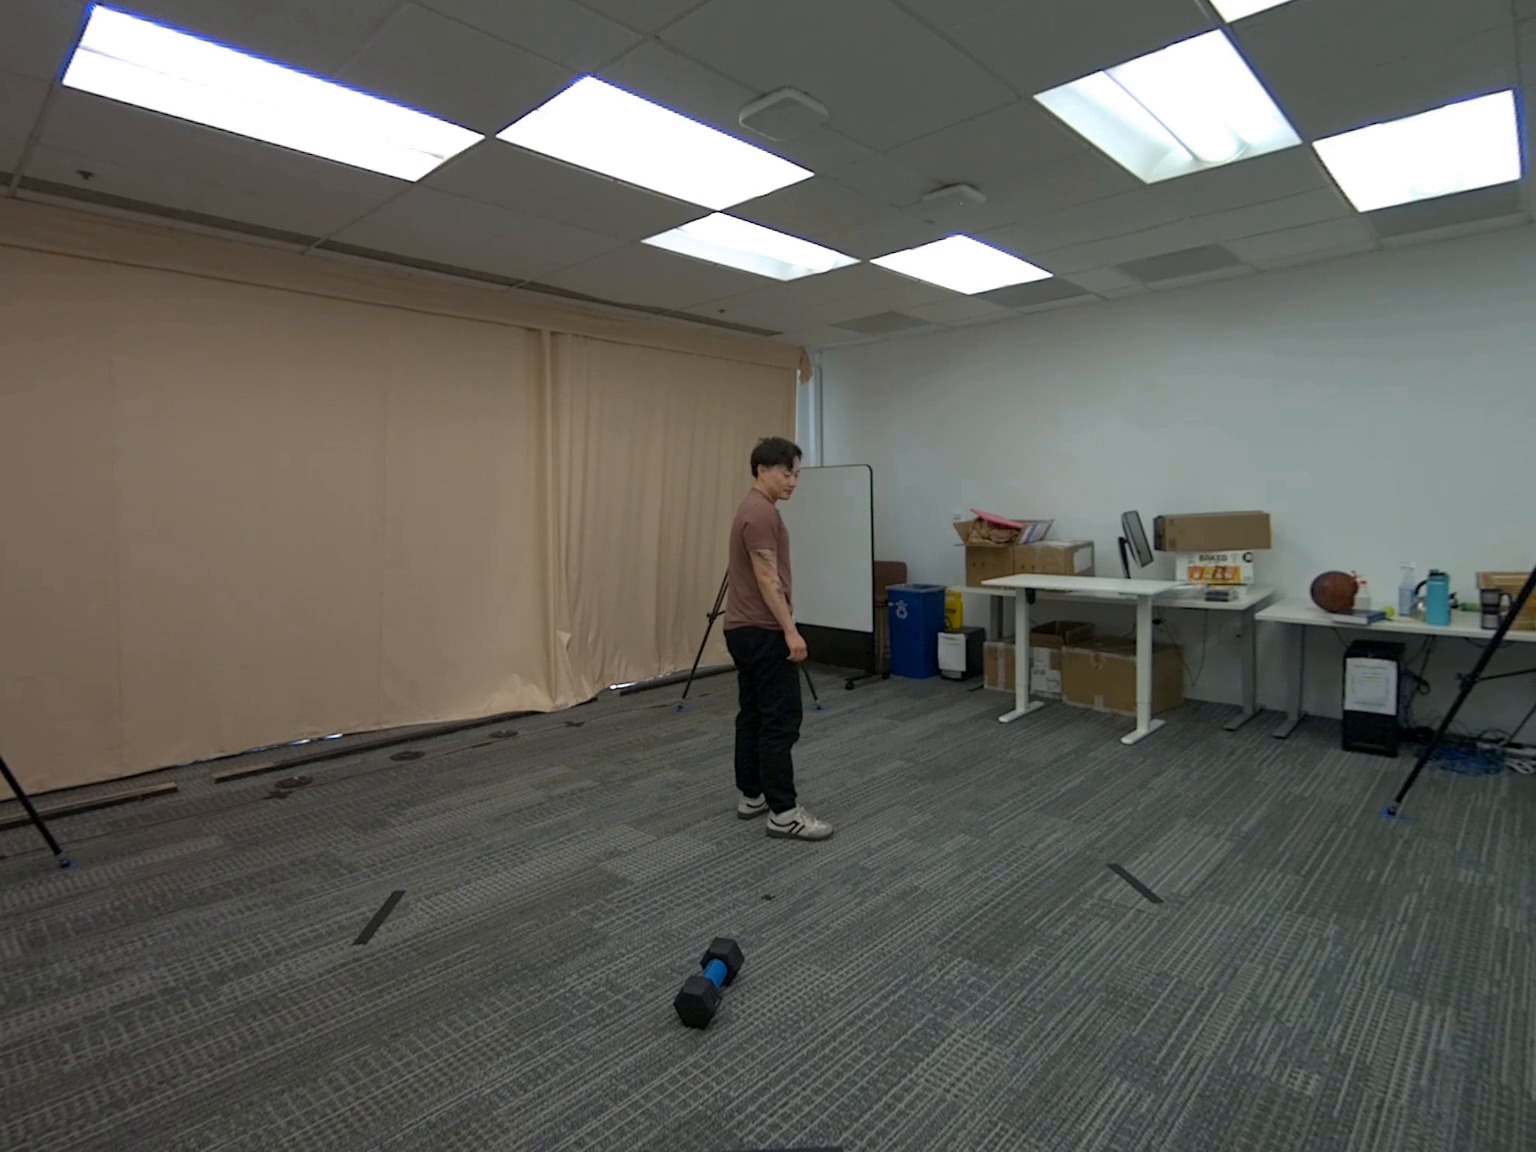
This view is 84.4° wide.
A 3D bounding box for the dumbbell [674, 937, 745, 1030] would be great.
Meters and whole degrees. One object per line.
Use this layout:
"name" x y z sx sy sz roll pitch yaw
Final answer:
"dumbbell" -0.159 1.137 2.372 0.110 0.124 0.289 -31 -4 16
